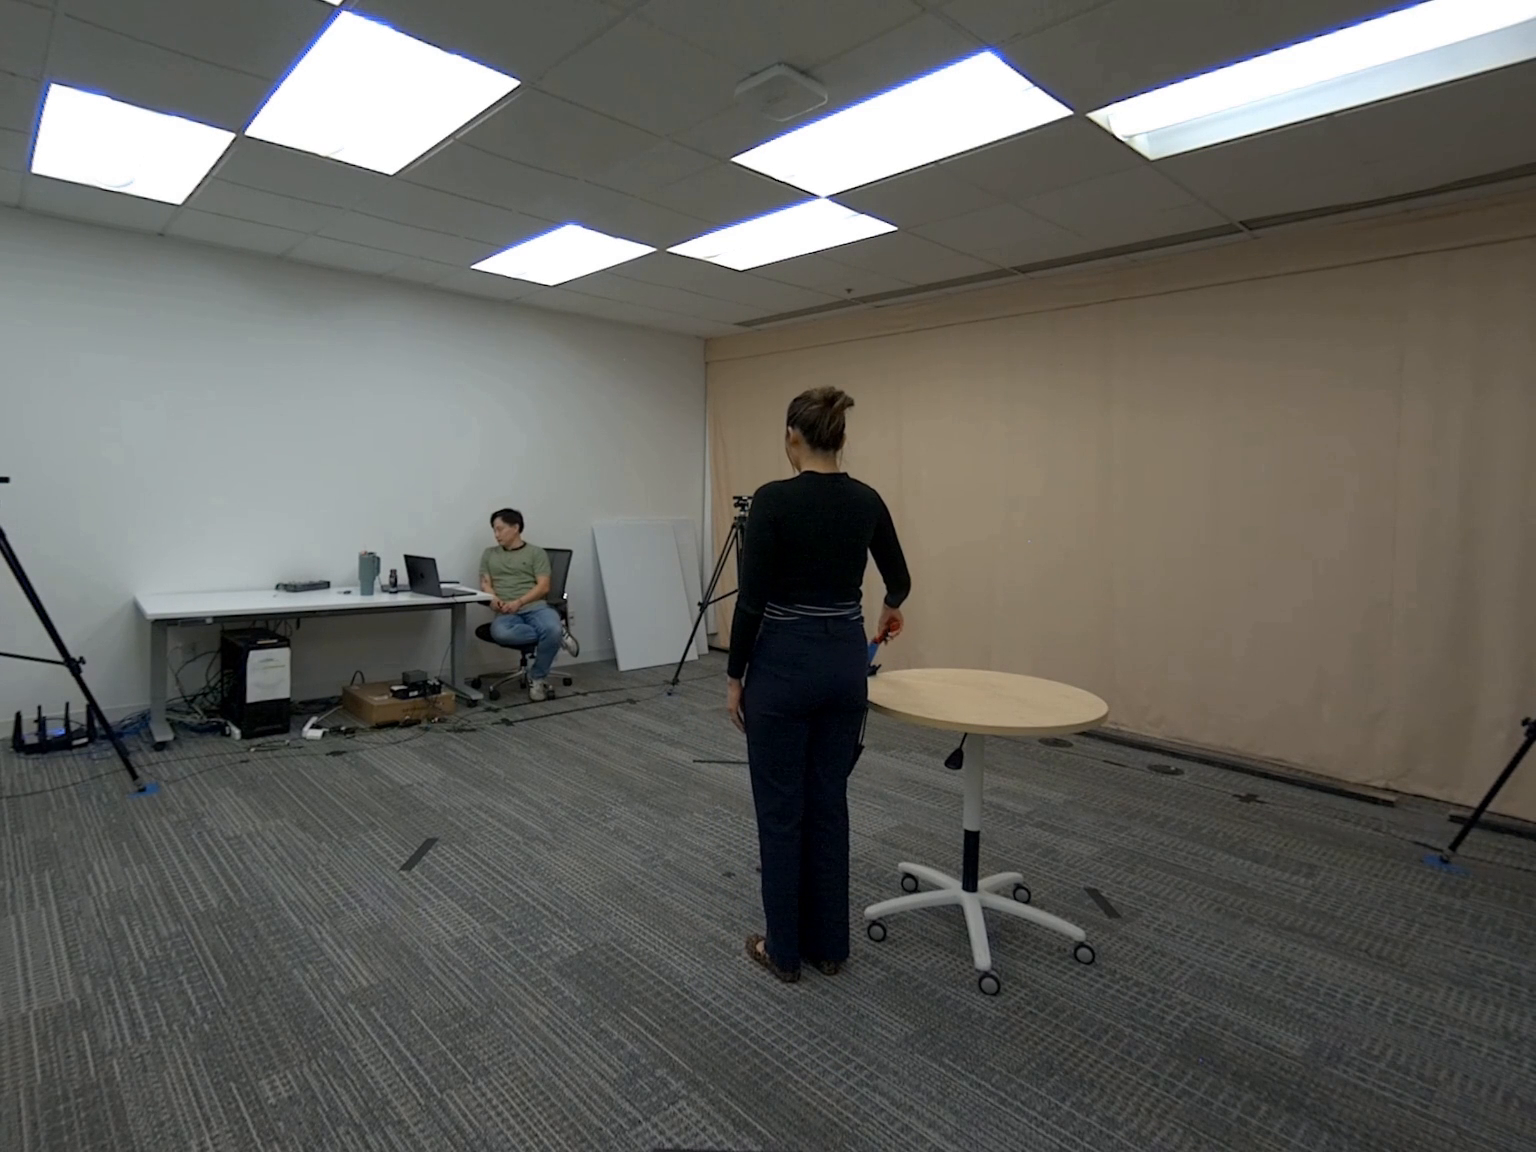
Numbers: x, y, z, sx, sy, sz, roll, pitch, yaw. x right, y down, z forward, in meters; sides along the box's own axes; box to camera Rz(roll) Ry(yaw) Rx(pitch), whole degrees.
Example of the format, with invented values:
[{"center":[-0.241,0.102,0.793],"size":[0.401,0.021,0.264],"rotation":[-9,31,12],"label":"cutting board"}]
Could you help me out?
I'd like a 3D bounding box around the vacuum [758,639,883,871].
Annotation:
[{"center":[0.249,0.639,3.032],"size":[0.148,1.041,0.247],"rotation":[34,23,36],"label":"vacuum"}]
